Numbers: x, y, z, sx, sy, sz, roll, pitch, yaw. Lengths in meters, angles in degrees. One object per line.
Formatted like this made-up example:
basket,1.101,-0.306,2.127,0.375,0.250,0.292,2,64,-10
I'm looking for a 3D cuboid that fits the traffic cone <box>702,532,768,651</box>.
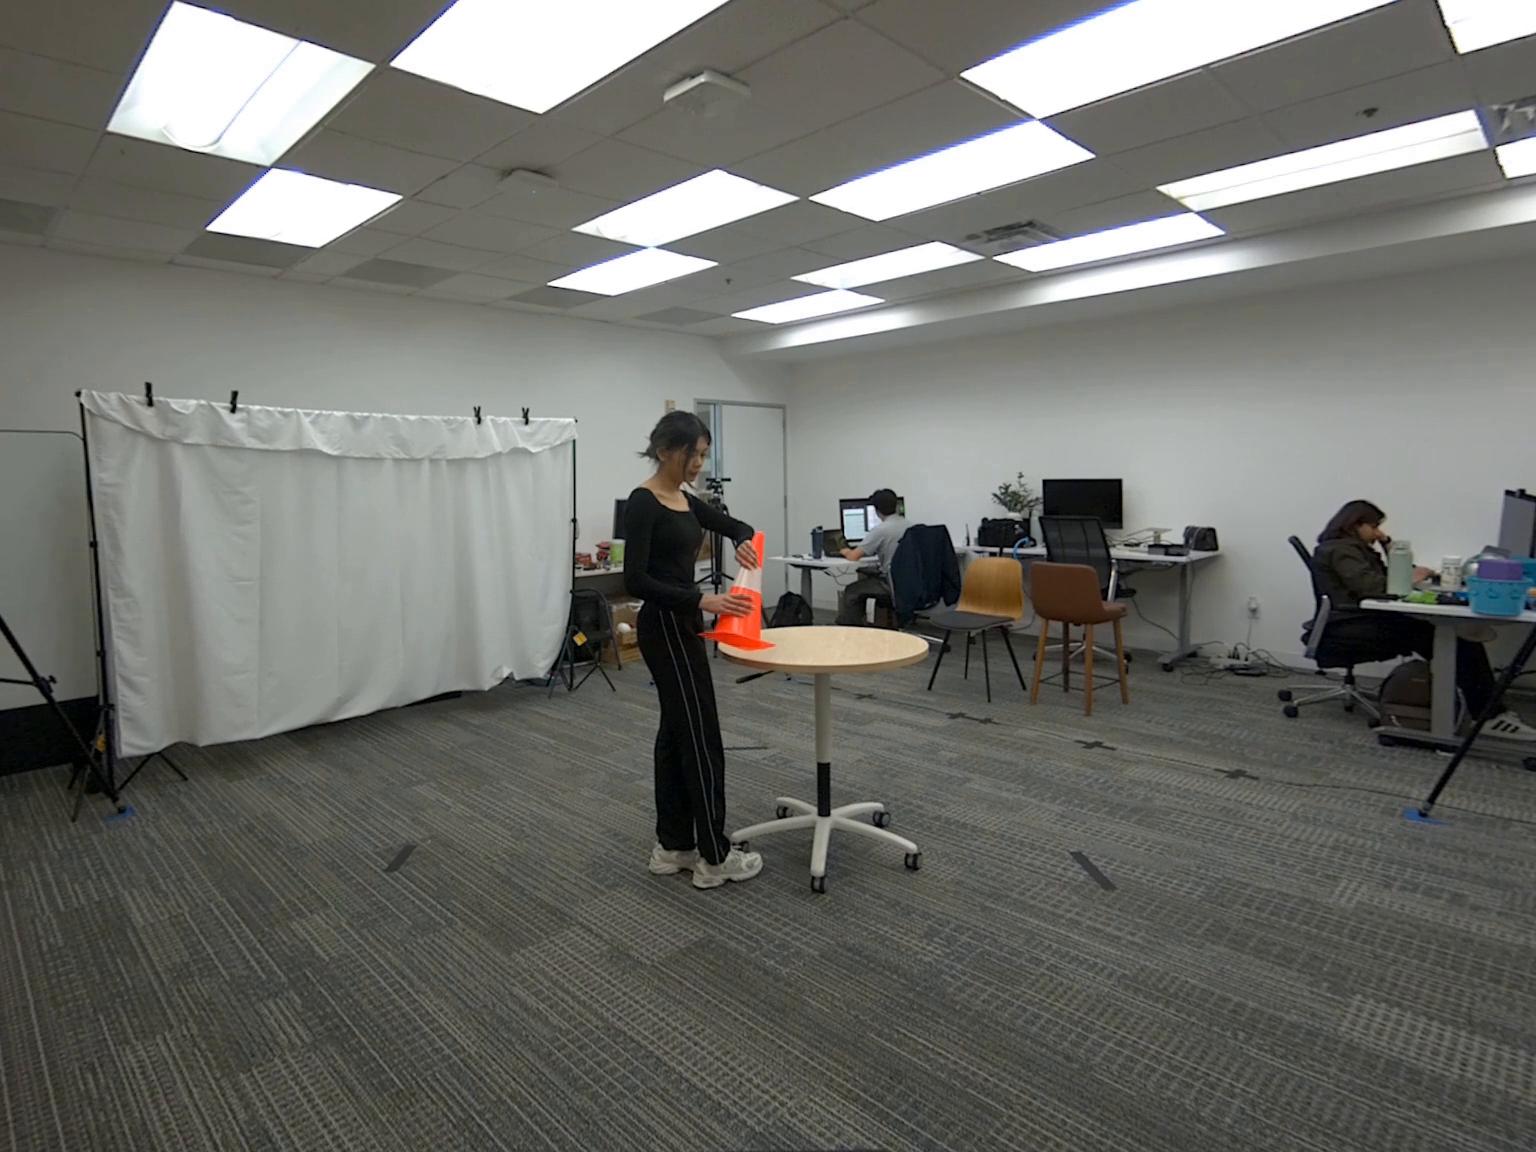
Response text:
traffic cone,-0.065,0.040,2.851,0.199,0.388,0.207,19,-20,-19
